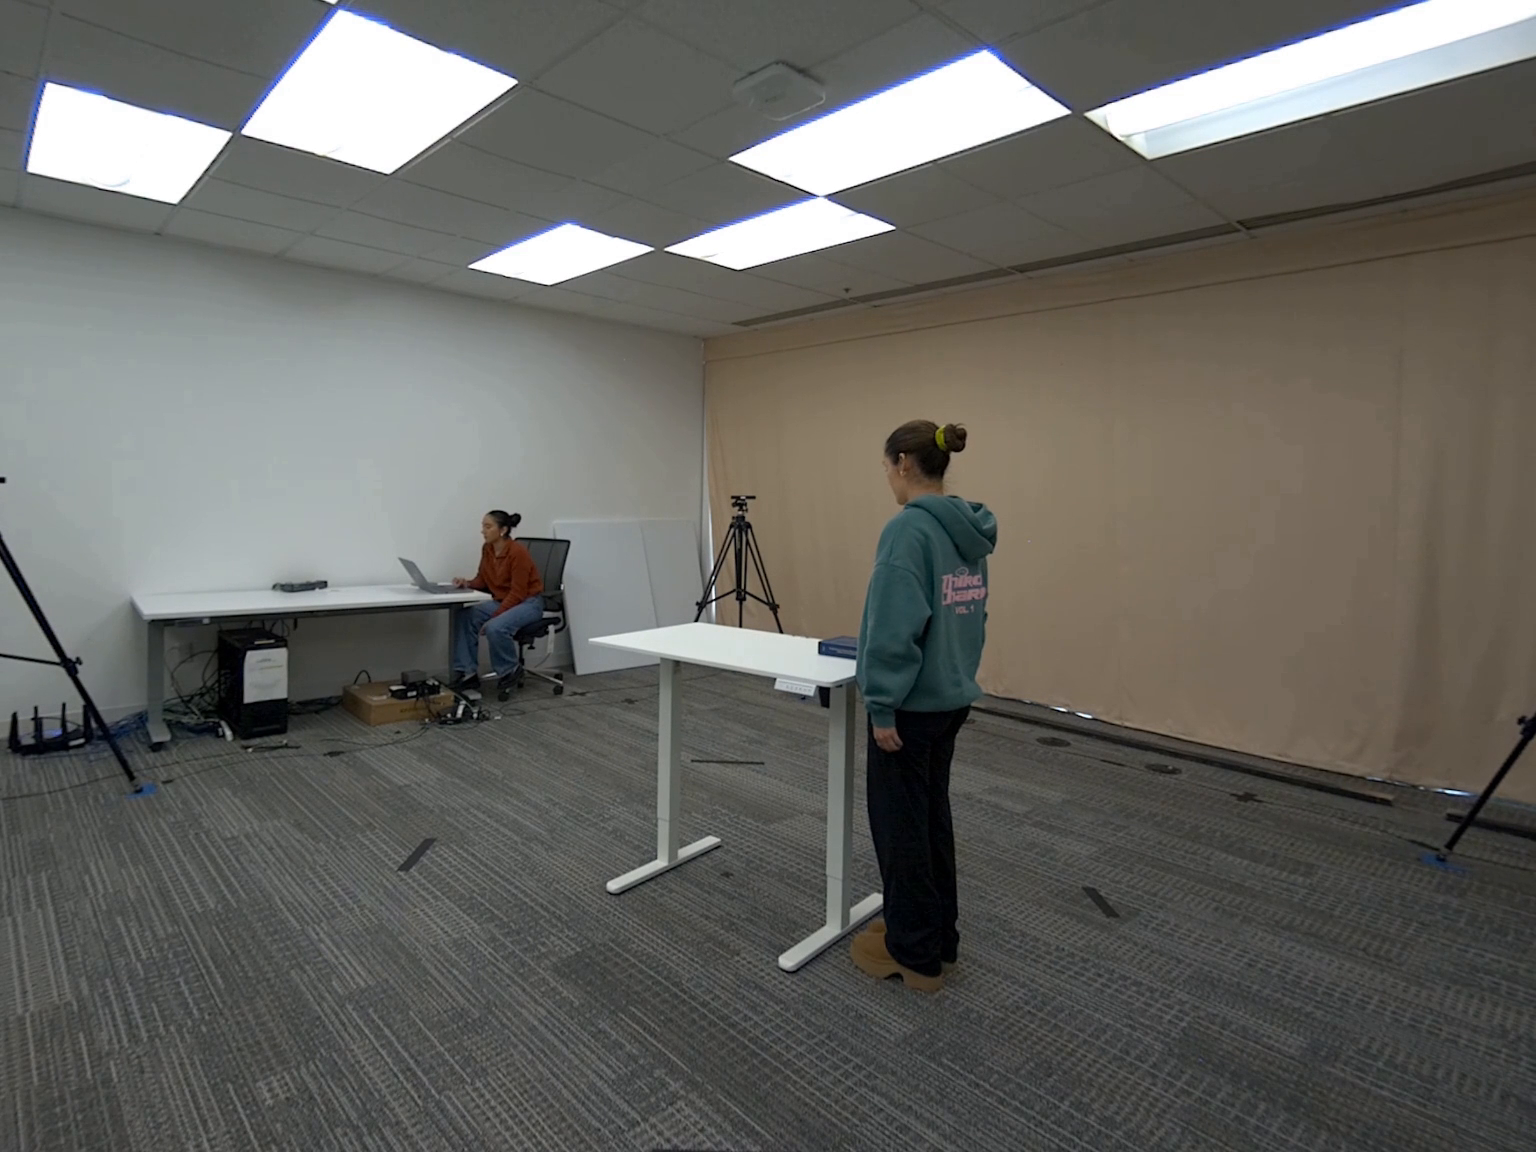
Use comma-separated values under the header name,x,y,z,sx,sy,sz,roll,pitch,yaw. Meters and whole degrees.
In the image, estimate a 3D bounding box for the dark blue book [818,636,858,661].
name,x,y,z,sx,sy,sz,roll,pitch,yaw
dark blue book,0.310,0.243,2.746,0.251,0.045,0.160,4,6,33
